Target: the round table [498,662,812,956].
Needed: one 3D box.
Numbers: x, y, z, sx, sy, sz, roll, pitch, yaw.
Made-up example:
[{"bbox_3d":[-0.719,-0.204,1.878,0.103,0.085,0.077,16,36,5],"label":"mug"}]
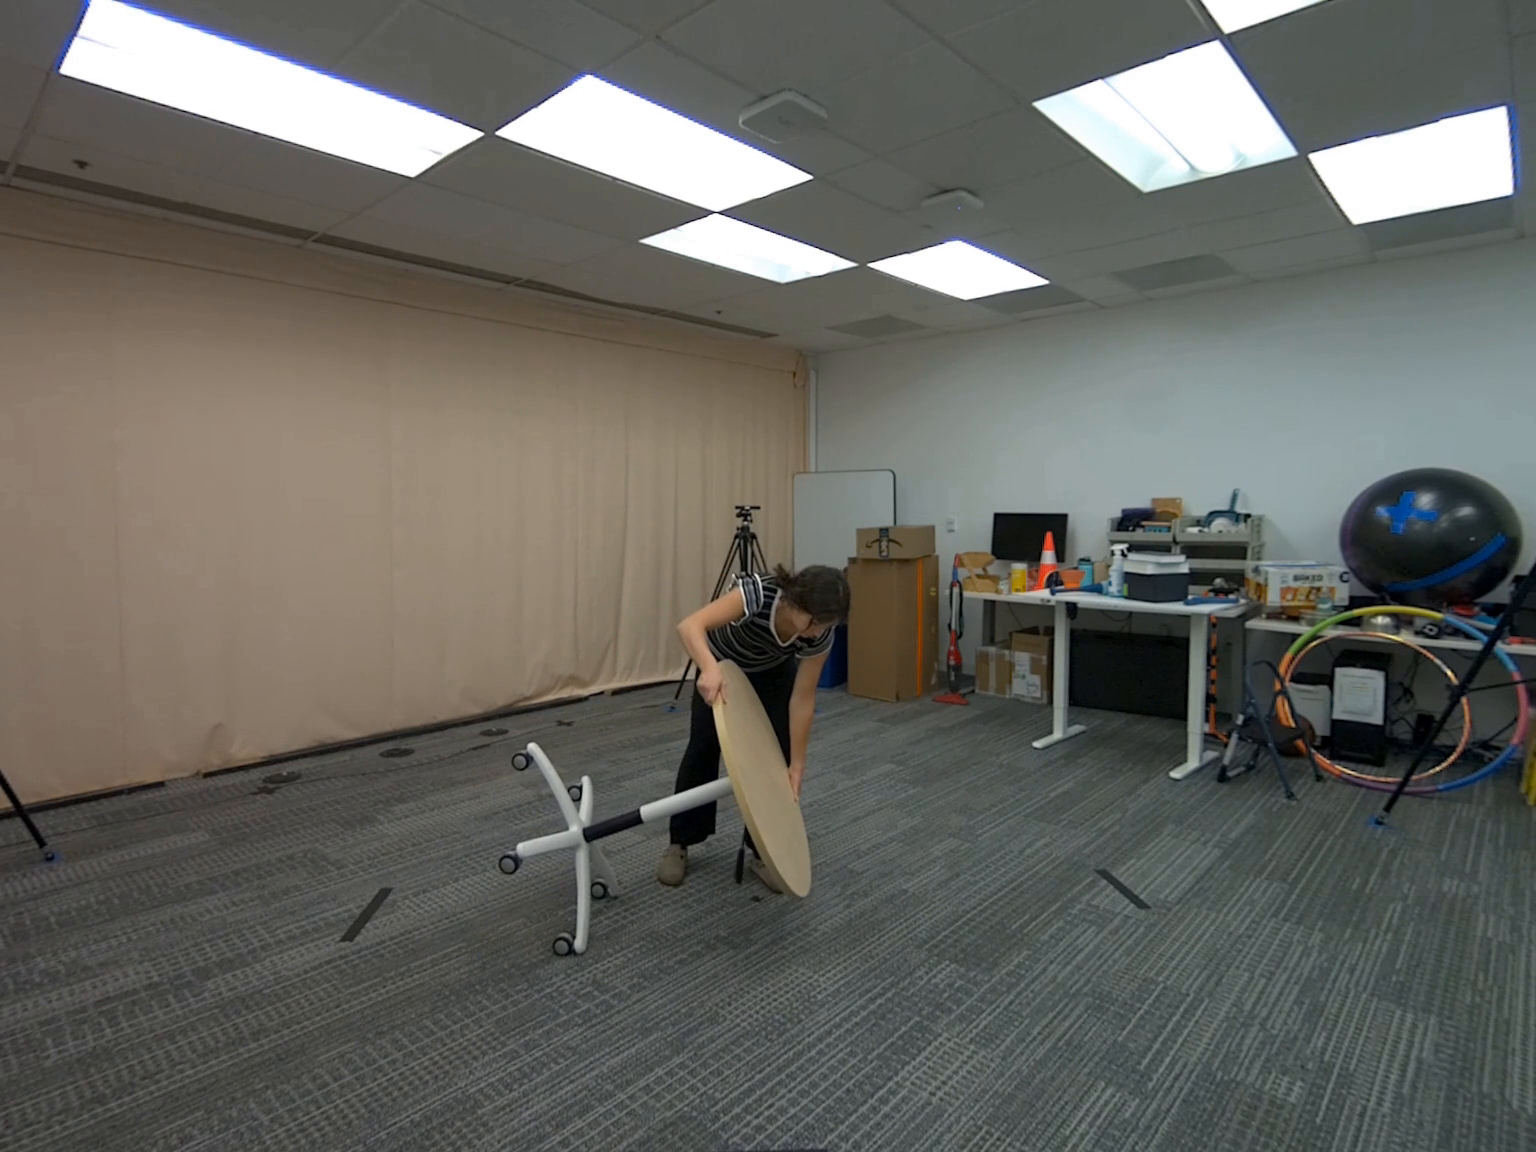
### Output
[{"bbox_3d":[-0.374,0.774,2.756,0.799,0.764,0.759,-22,1,8],"label":"round table"}]
